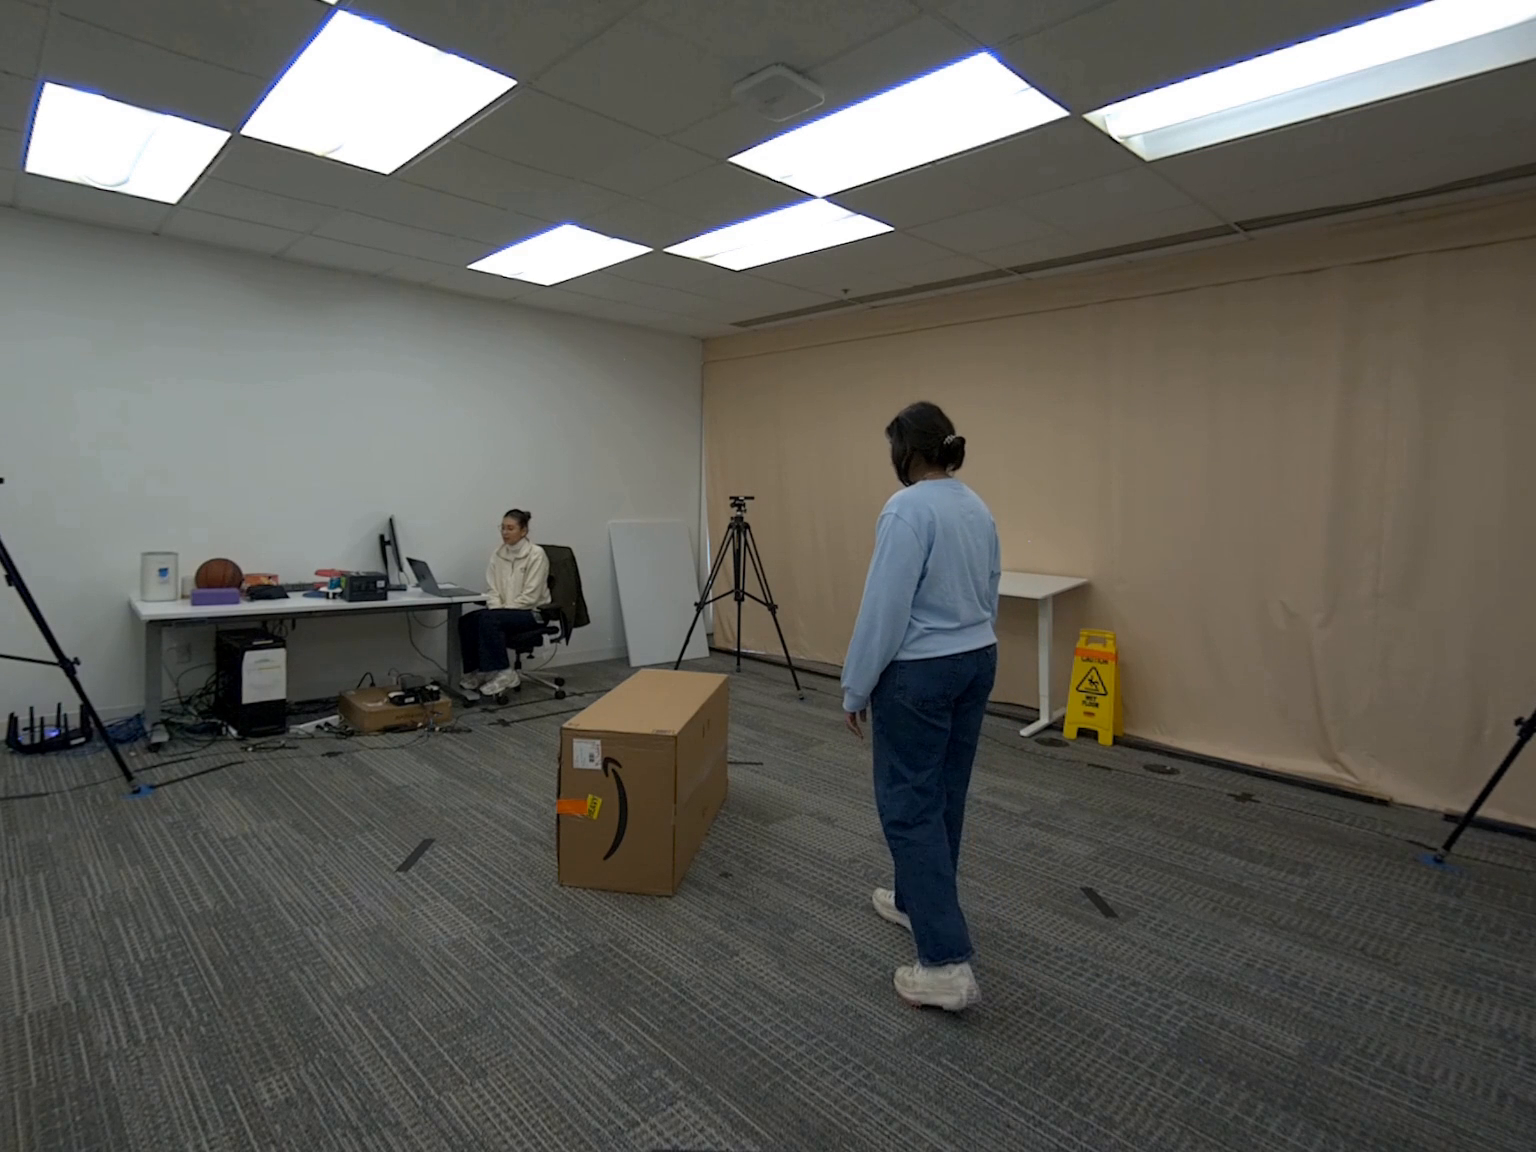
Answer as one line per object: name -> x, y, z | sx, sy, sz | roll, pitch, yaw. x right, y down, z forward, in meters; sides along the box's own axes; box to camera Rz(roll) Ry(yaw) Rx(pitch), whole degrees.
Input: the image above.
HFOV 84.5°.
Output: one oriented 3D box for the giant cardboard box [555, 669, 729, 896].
giant cardboard box -> -0.471, 0.774, 3.445 | 0.429, 0.576, 1.021 | 2, 5, 8
